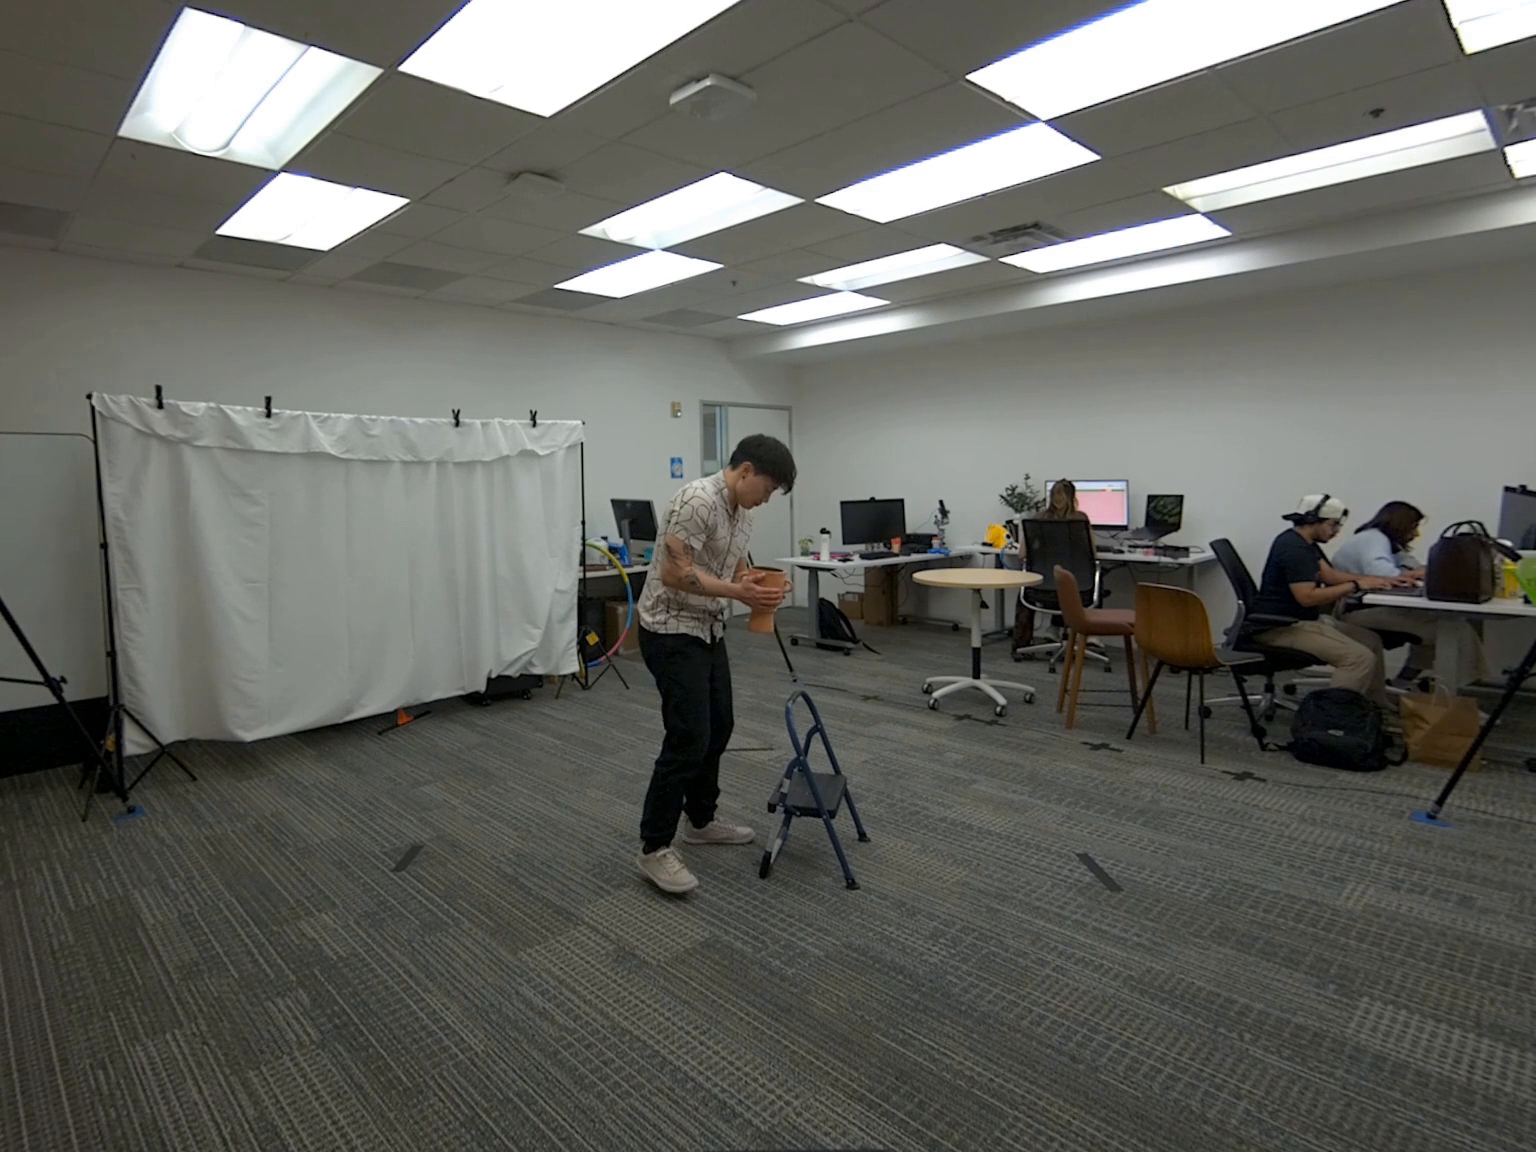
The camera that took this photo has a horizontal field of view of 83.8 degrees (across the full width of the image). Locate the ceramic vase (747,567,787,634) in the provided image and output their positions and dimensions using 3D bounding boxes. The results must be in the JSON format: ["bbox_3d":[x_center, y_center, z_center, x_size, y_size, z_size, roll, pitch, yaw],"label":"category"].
[{"bbox_3d":[-0.019,0.086,3.013,0.131,0.218,0.164,0,10,-40],"label":"ceramic vase"}]
